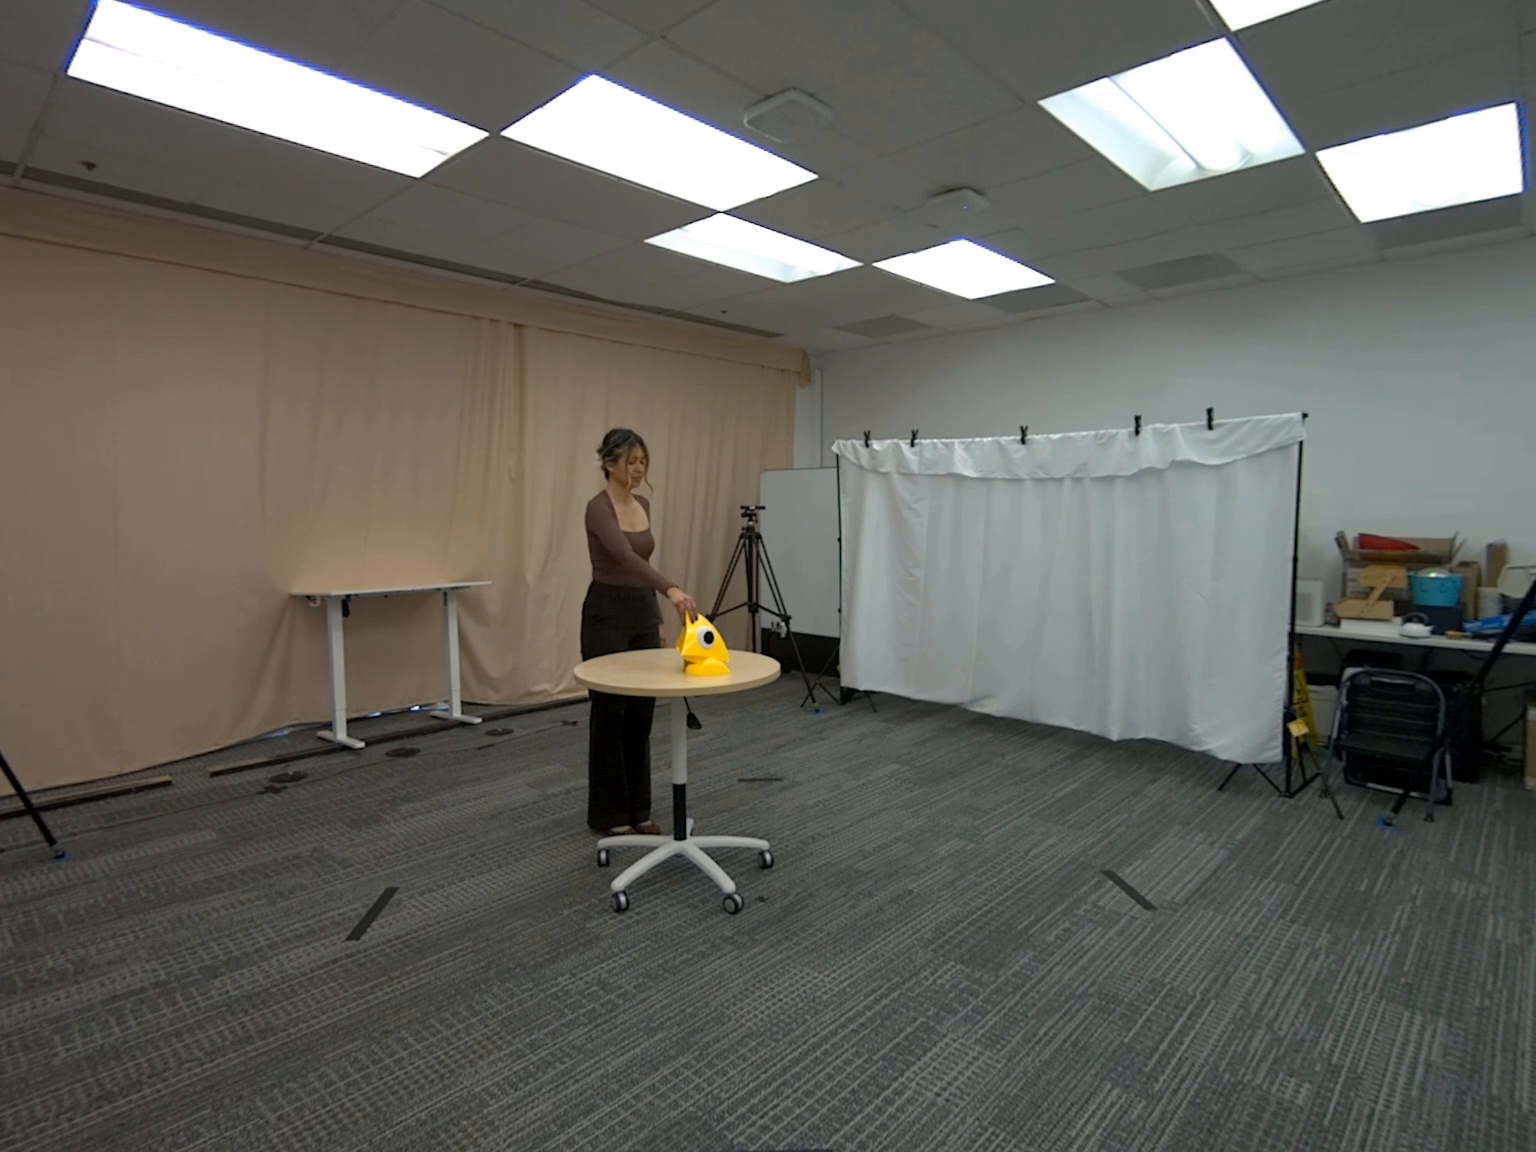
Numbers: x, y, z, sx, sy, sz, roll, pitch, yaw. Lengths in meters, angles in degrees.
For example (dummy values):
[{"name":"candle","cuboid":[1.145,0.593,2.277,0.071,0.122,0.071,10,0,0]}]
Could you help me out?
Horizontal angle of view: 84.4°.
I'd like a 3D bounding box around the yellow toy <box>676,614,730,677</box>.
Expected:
[{"name":"yellow toy","cuboid":[-0.234,0.228,3.049,0.191,0.230,0.207,-2,4,-10]}]
